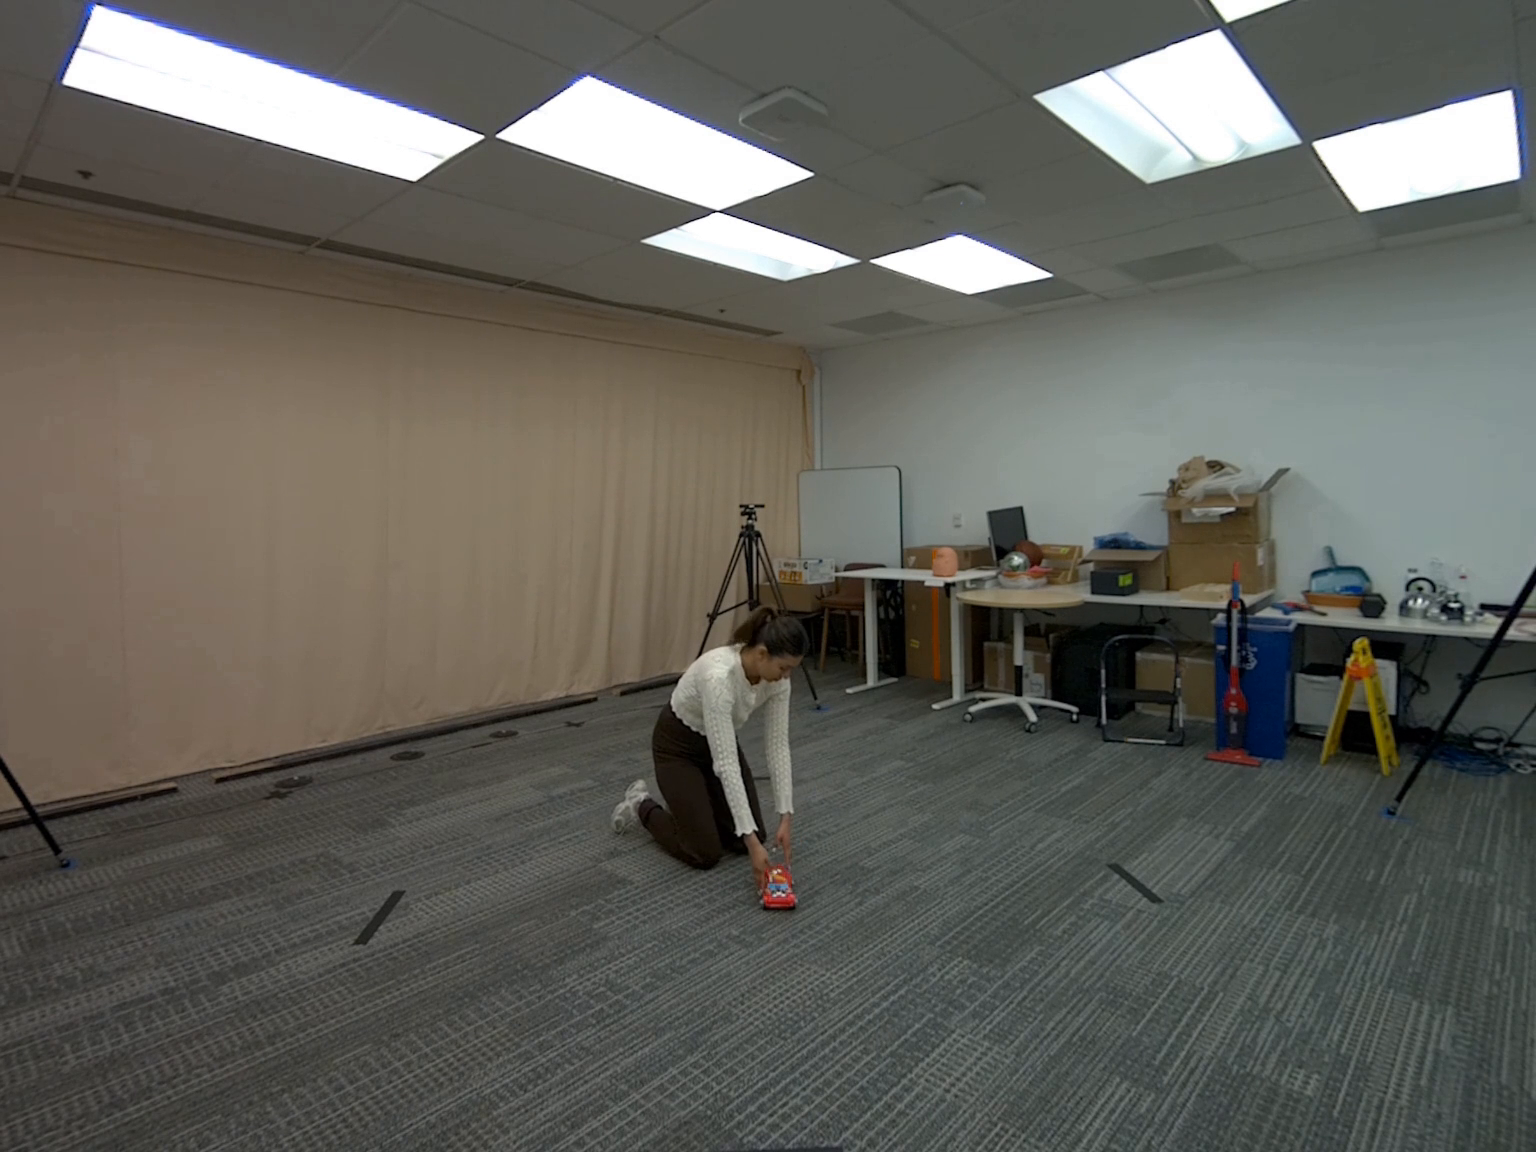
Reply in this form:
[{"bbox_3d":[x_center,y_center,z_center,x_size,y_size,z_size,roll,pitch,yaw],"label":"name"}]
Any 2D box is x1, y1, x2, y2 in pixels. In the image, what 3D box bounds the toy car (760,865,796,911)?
[{"bbox_3d":[0.036,1.105,2.988,0.130,0.082,0.257,-2,16,-4],"label":"toy car"}]
